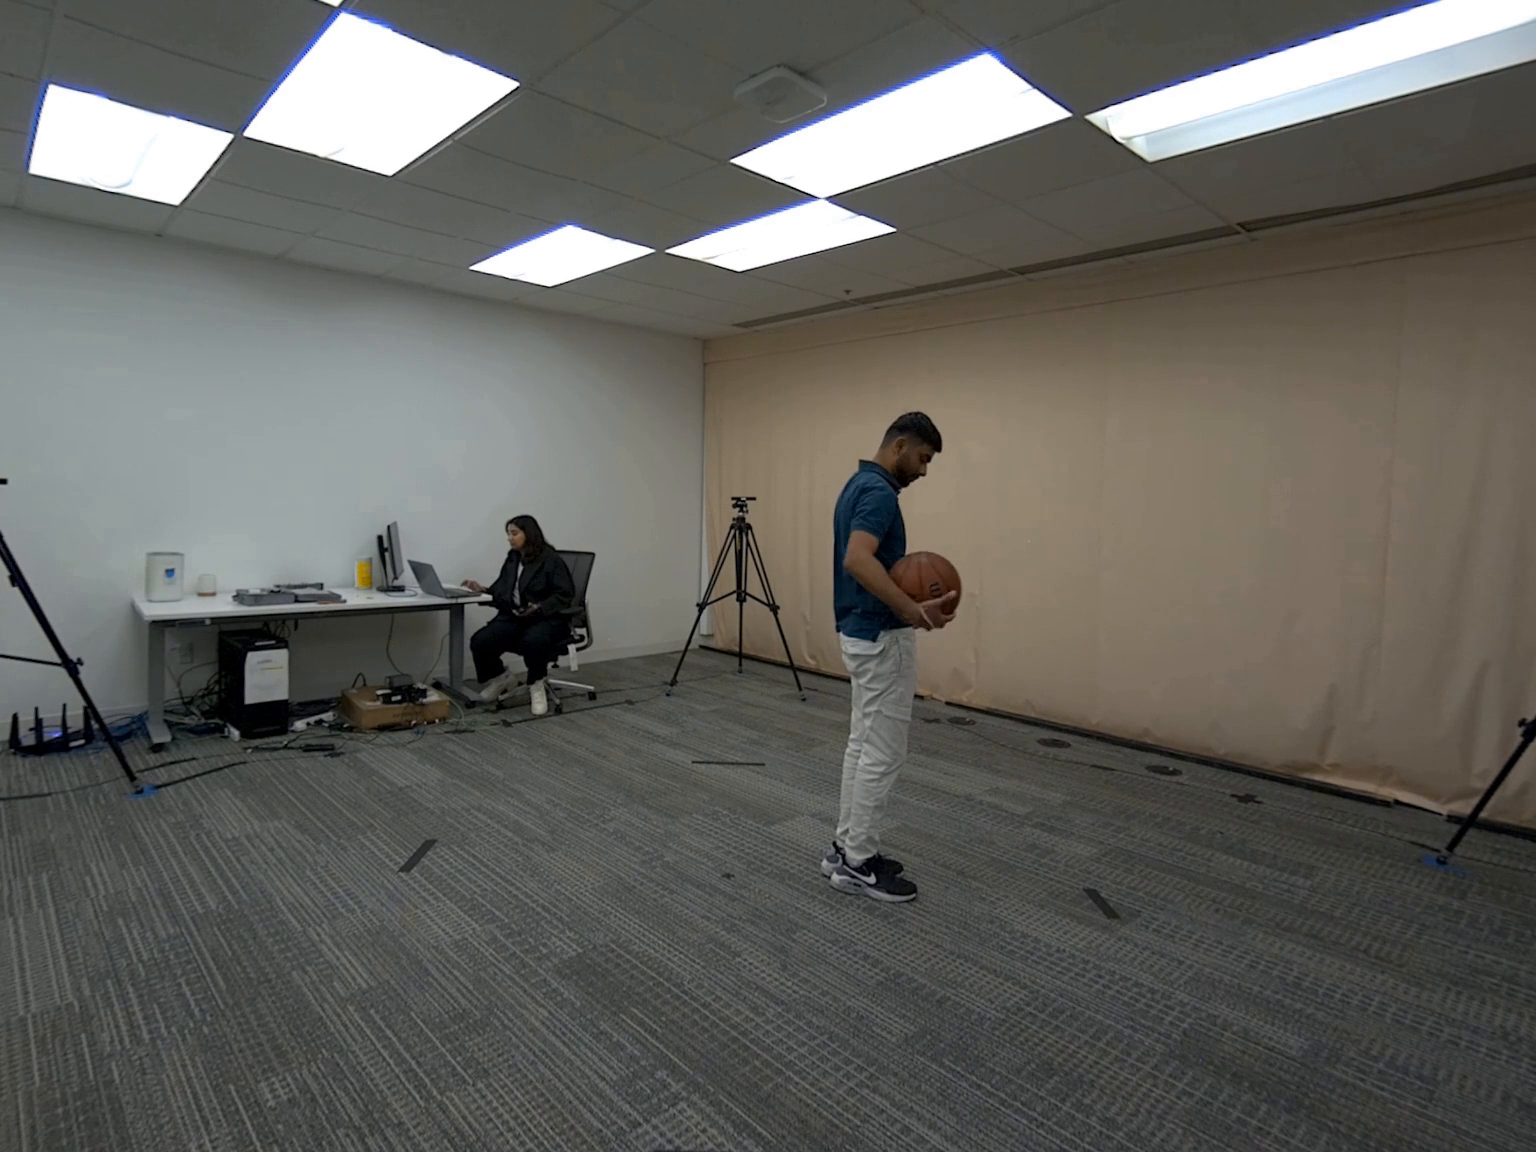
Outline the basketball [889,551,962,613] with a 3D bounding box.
[{"bbox_3d":[0.488,0.041,2.712,0.236,0.235,0.237,1,4,-1],"label":"basketball"}]
